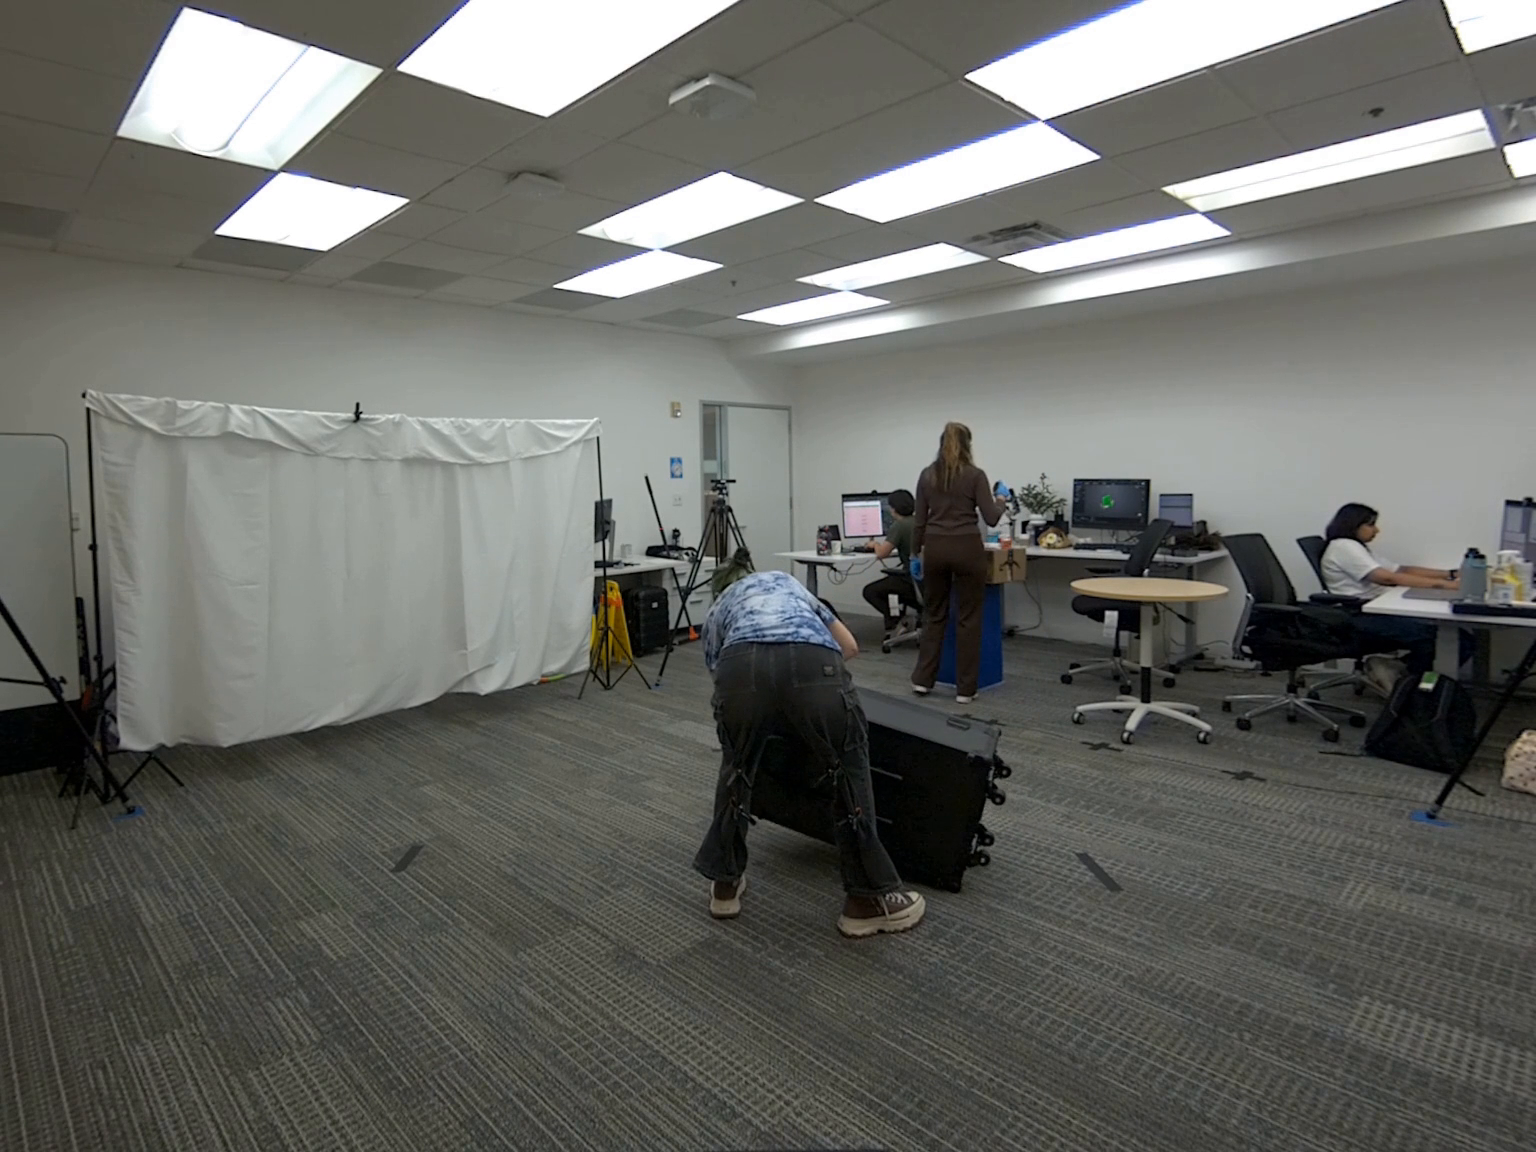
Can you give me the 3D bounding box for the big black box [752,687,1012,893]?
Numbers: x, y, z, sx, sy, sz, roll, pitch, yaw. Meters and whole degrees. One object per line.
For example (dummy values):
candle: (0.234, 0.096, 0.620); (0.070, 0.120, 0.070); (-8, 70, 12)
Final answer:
big black box: (0.413, 0.718, 3.100); (0.882, 0.518, 0.390); (14, 10, 21)
